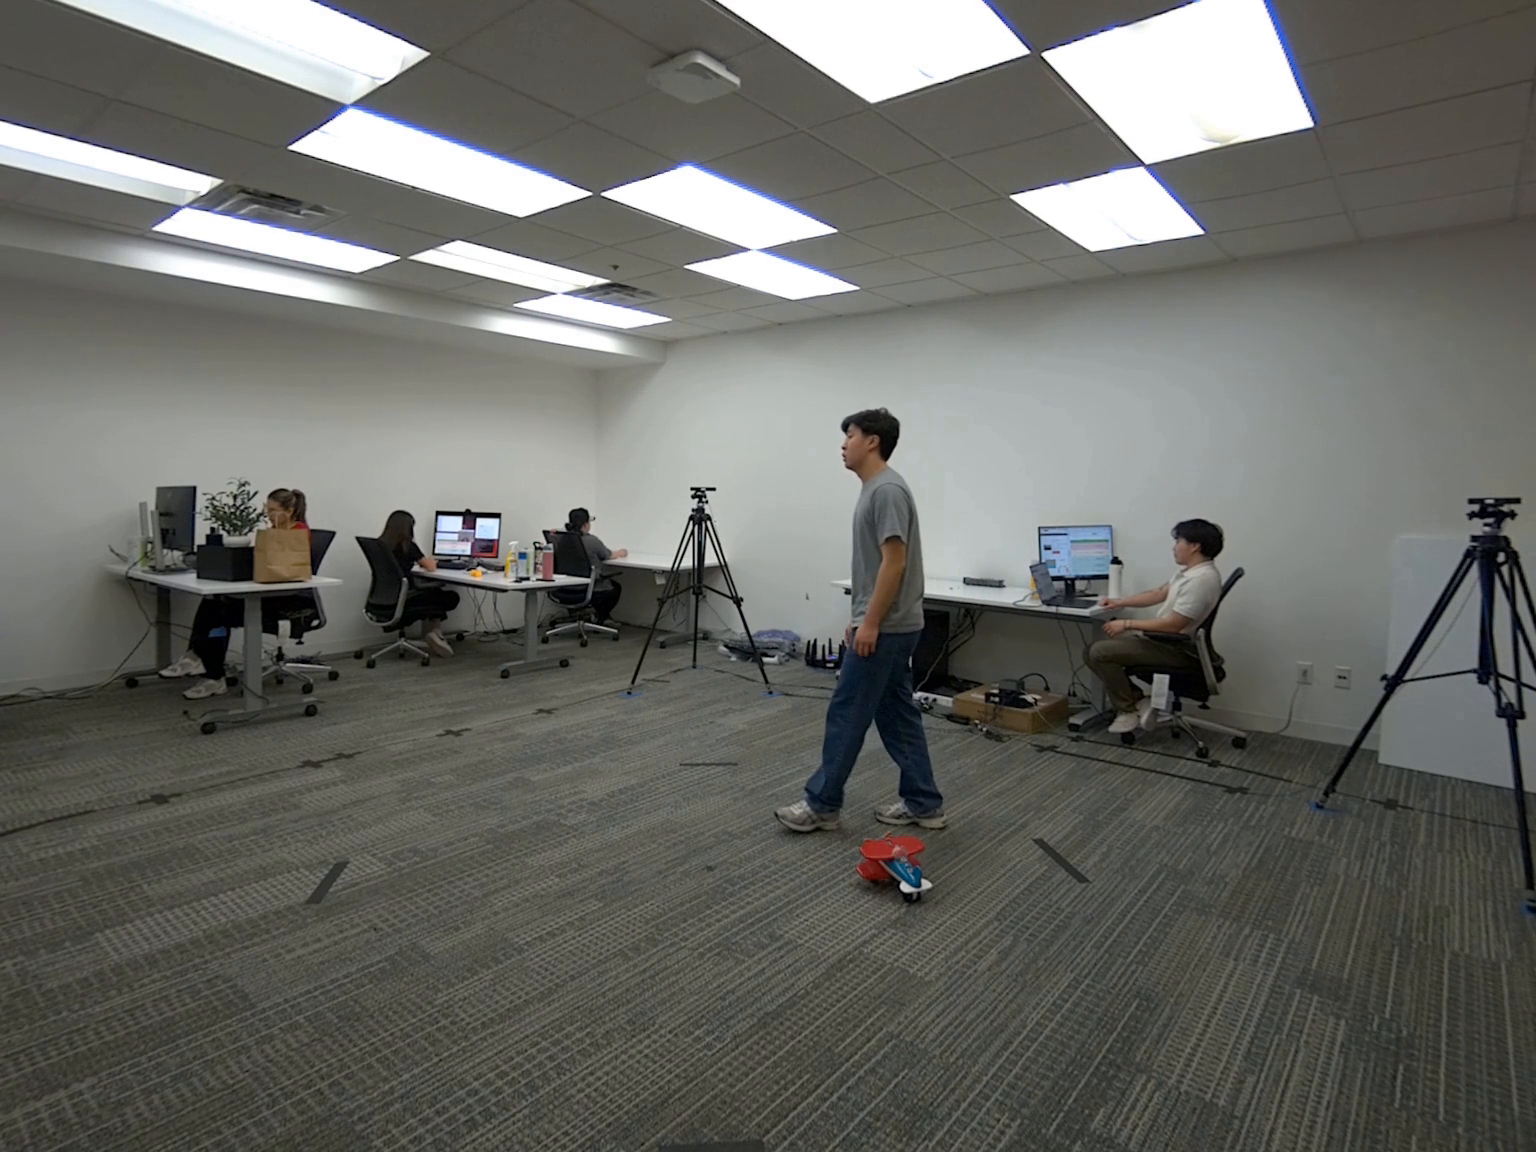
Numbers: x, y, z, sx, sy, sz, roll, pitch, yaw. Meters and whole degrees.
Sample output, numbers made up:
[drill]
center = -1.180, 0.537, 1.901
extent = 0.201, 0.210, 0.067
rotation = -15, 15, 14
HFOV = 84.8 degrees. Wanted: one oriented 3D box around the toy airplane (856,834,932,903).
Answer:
[toy airplane]
center = 0.465, 1.021, 2.990
extent = 0.267, 0.156, 0.244
rotation = 4, 6, 36
